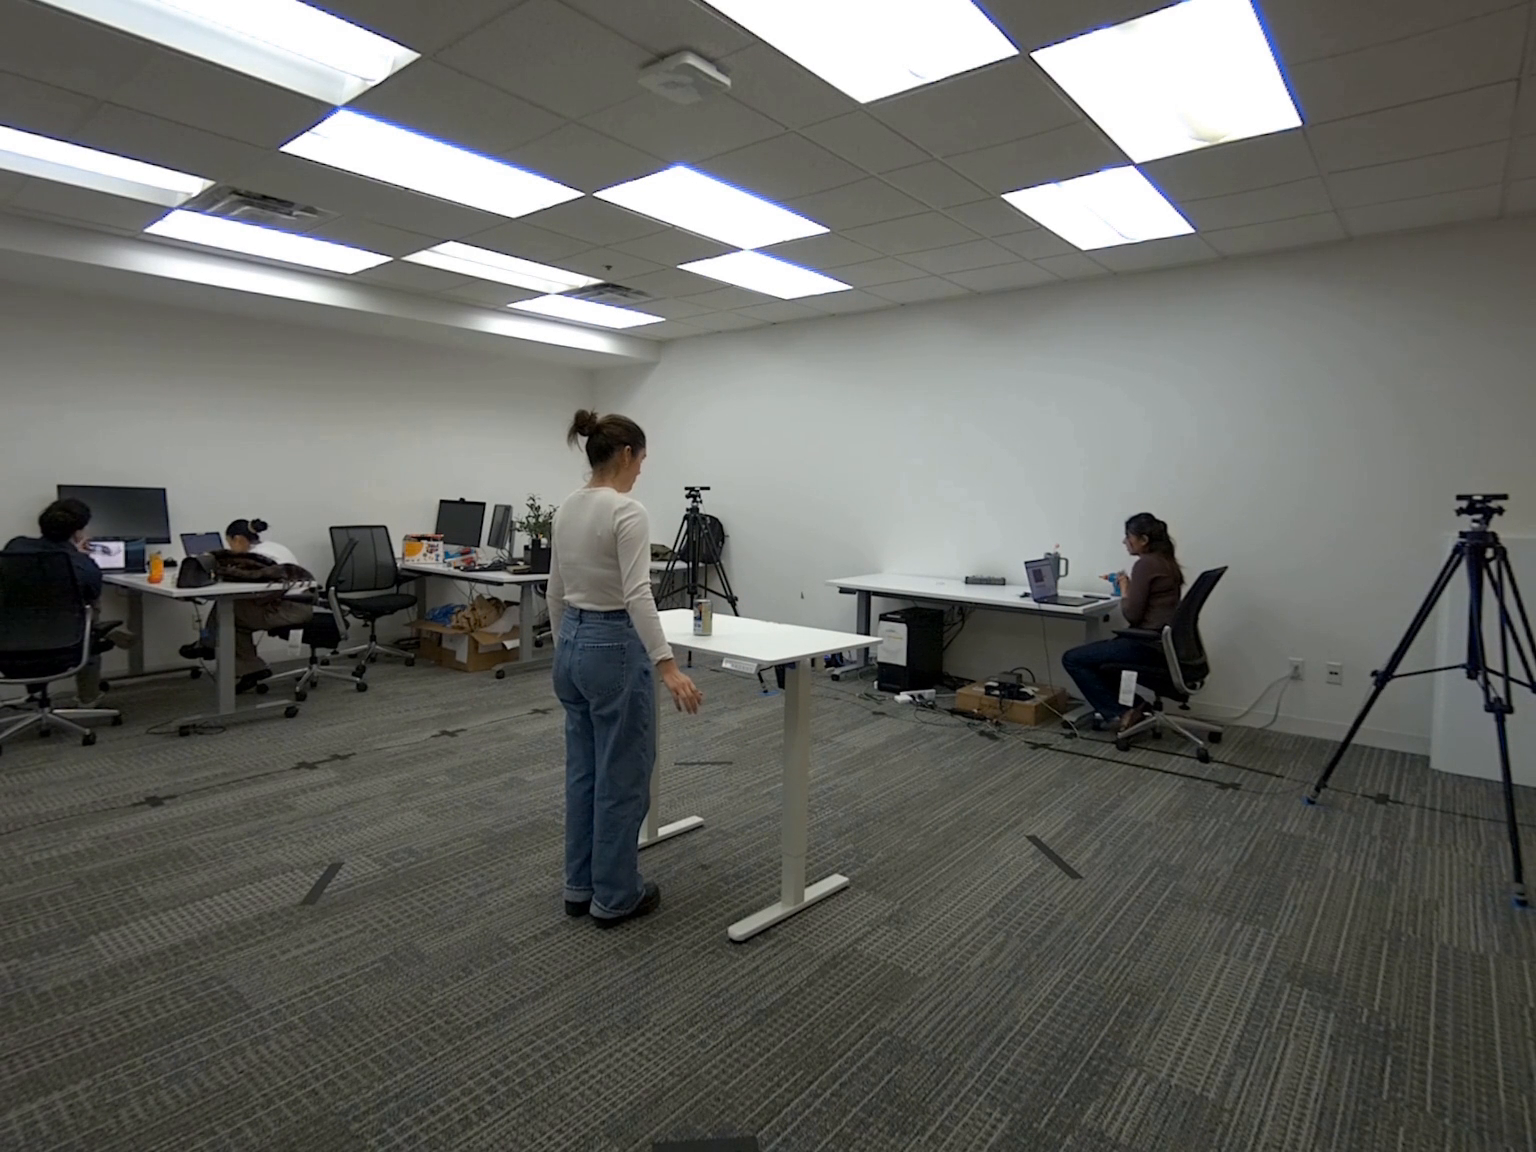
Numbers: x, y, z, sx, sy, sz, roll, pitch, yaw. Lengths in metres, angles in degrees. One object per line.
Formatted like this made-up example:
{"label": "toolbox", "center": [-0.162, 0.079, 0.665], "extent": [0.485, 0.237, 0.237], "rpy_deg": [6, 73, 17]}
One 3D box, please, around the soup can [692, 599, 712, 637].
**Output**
{"label": "soup can", "center": [-0.238, 0.140, 2.908], "extent": [0.067, 0.121, 0.067], "rpy_deg": [-1, 3, -2]}
